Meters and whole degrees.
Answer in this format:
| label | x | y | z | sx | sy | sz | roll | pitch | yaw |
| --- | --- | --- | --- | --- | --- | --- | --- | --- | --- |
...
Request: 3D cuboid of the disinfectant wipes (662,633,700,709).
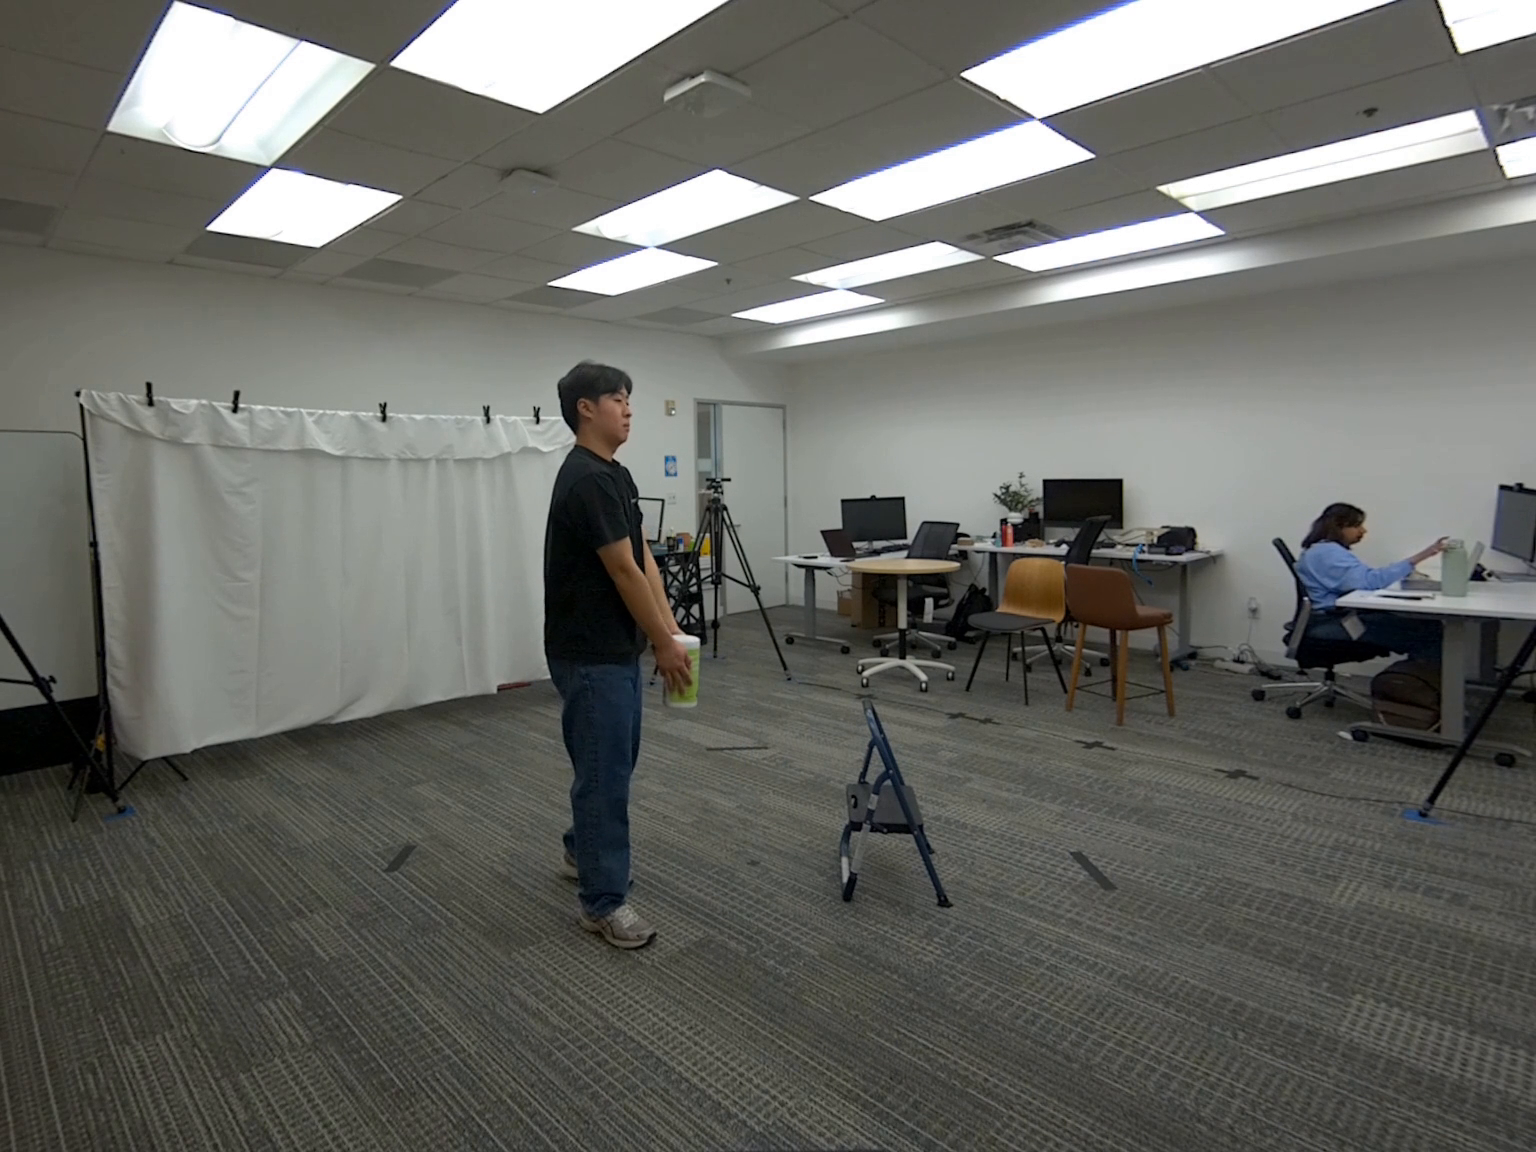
| label | x | y | z | sx | sy | sz | roll | pitch | yaw |
| --- | --- | --- | --- | --- | --- | --- | --- | --- | --- |
| disinfectant wipes | -0.268 | 0.300 | 2.681 | 0.118 | 0.218 | 0.118 | 3 | -1 | -2 |
